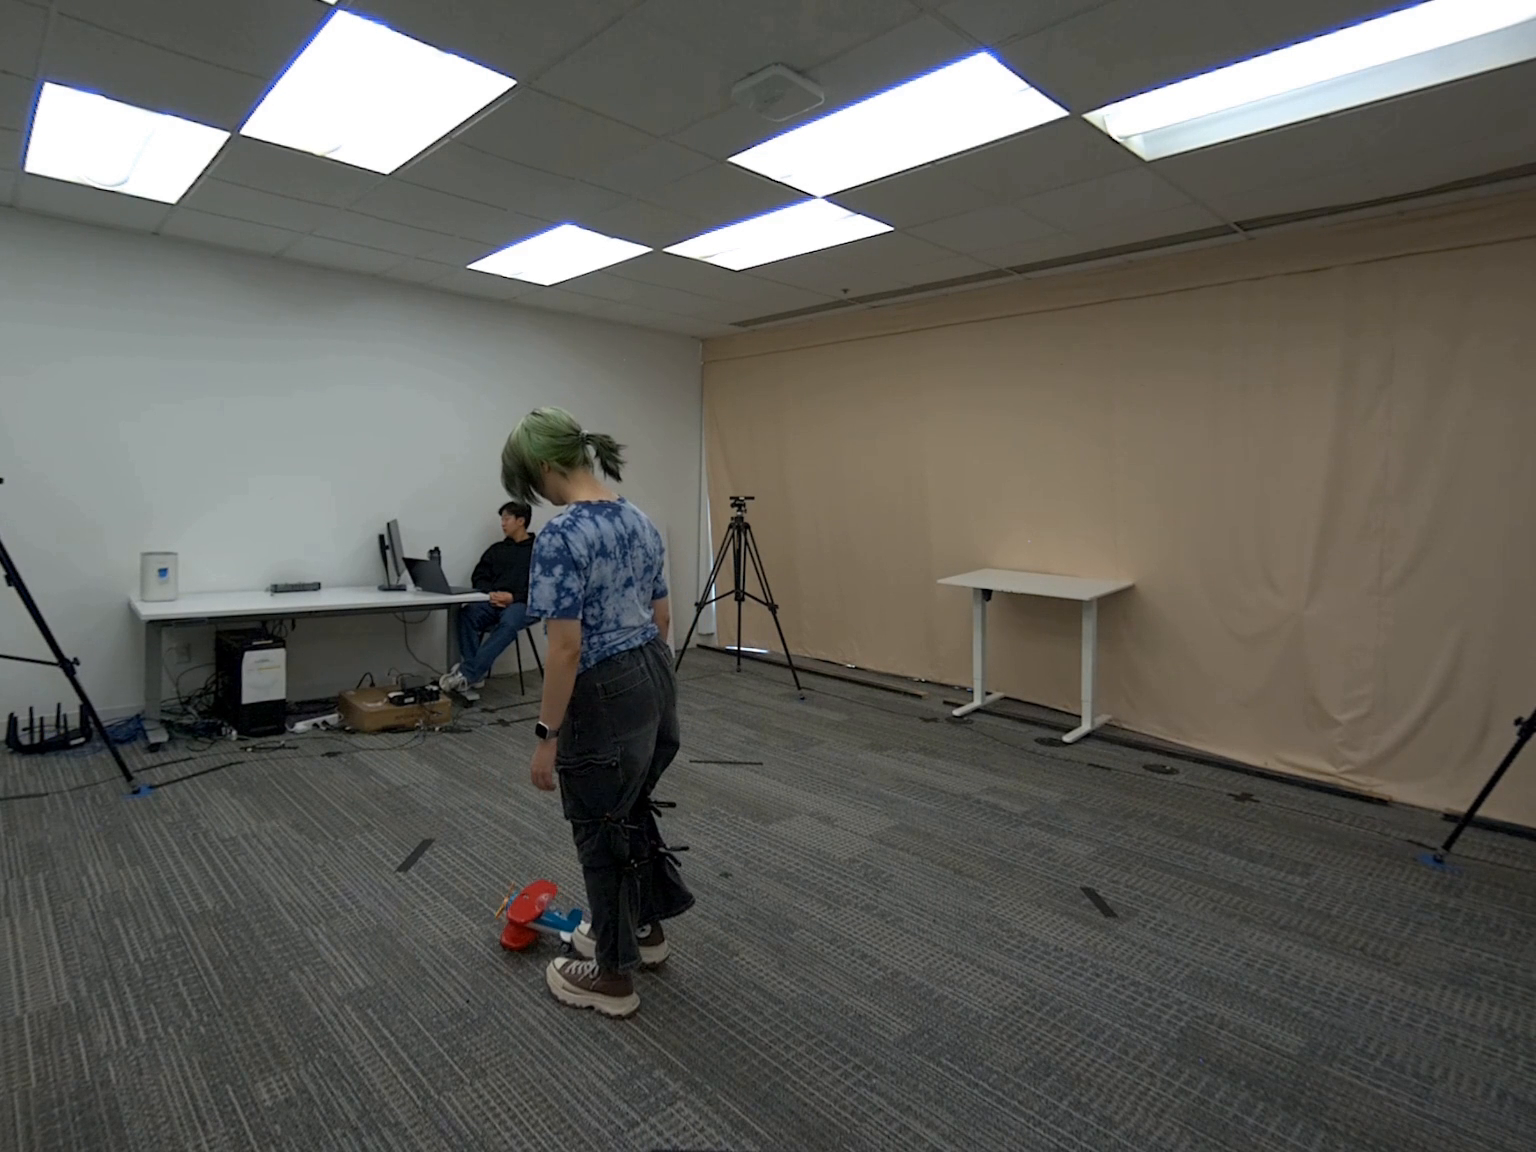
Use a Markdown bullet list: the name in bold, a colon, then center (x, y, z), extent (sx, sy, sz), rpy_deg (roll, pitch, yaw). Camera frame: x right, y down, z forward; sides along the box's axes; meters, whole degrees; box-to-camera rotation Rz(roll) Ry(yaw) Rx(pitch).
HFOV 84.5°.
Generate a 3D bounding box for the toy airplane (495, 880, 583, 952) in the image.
- **toy airplane**: center (-0.708, 1.067, 2.602), extent (0.256, 0.156, 0.255), rpy_deg (-2, 5, -17)
